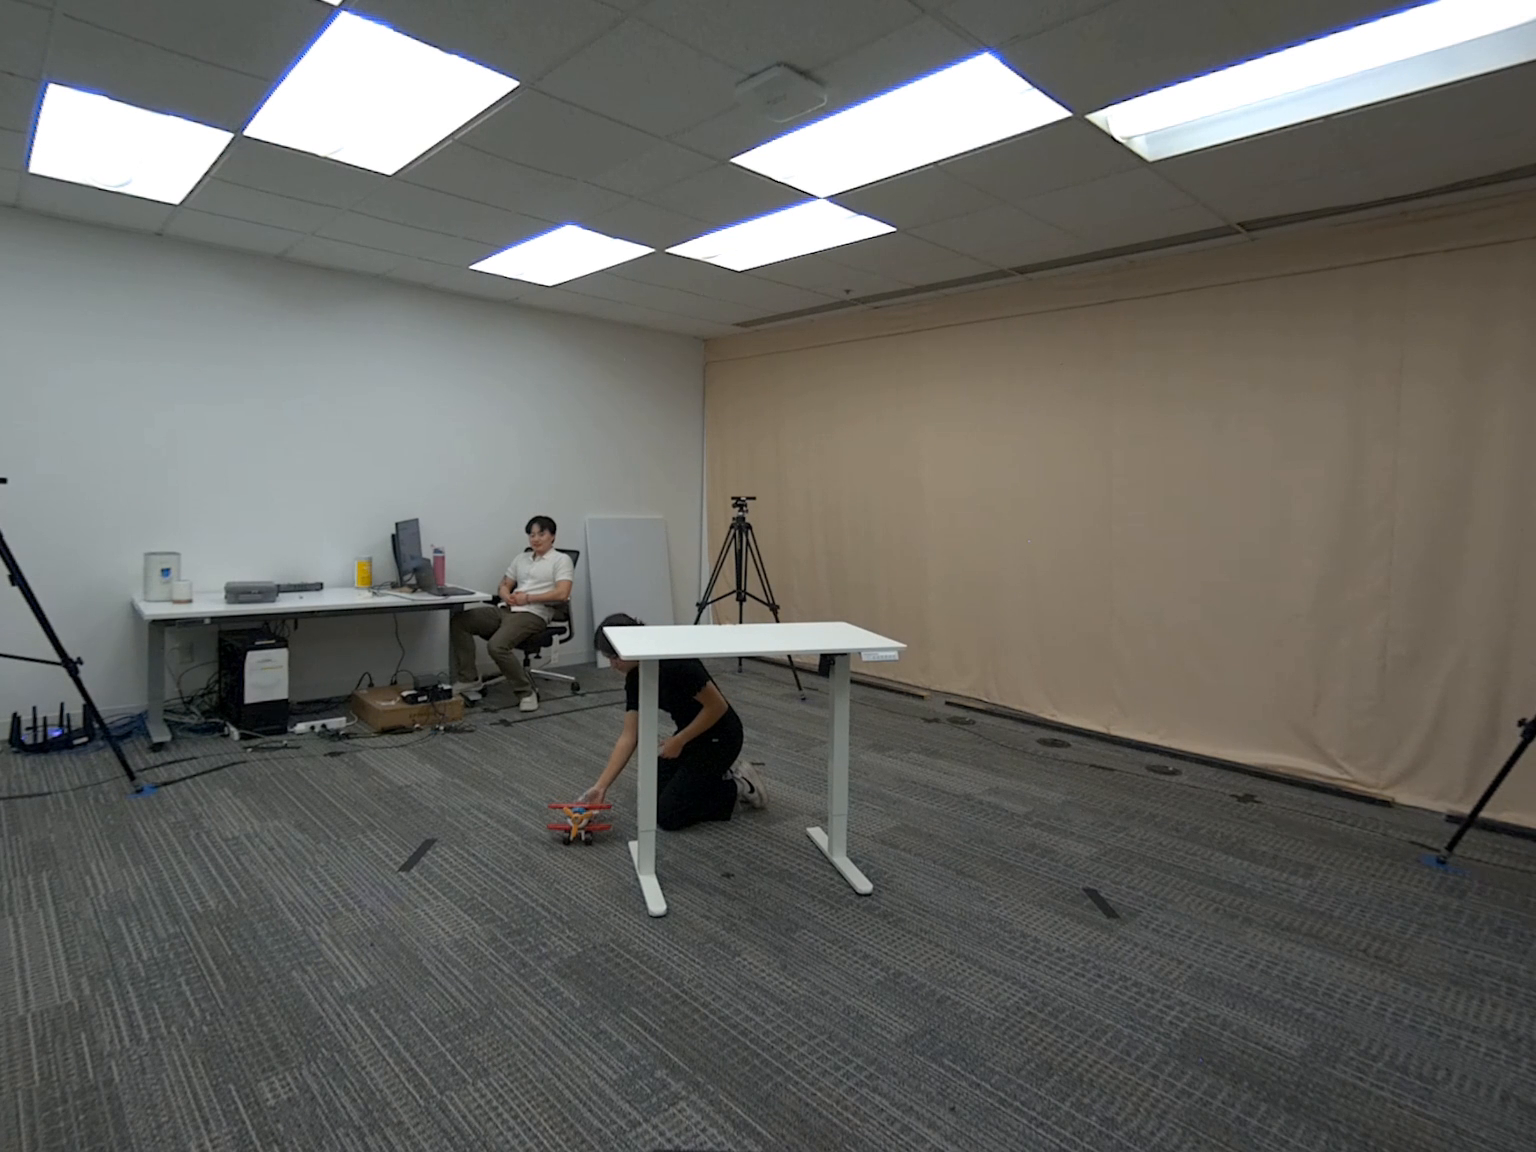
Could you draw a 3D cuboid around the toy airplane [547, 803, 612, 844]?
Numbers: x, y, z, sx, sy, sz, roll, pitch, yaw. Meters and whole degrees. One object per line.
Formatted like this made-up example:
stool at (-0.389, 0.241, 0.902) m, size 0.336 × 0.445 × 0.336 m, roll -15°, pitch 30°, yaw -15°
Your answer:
toy airplane at (-0.791, 0.985, 3.432) m, size 0.246 × 0.156 × 0.265 m, roll -2°, pitch 7°, yaw -29°
